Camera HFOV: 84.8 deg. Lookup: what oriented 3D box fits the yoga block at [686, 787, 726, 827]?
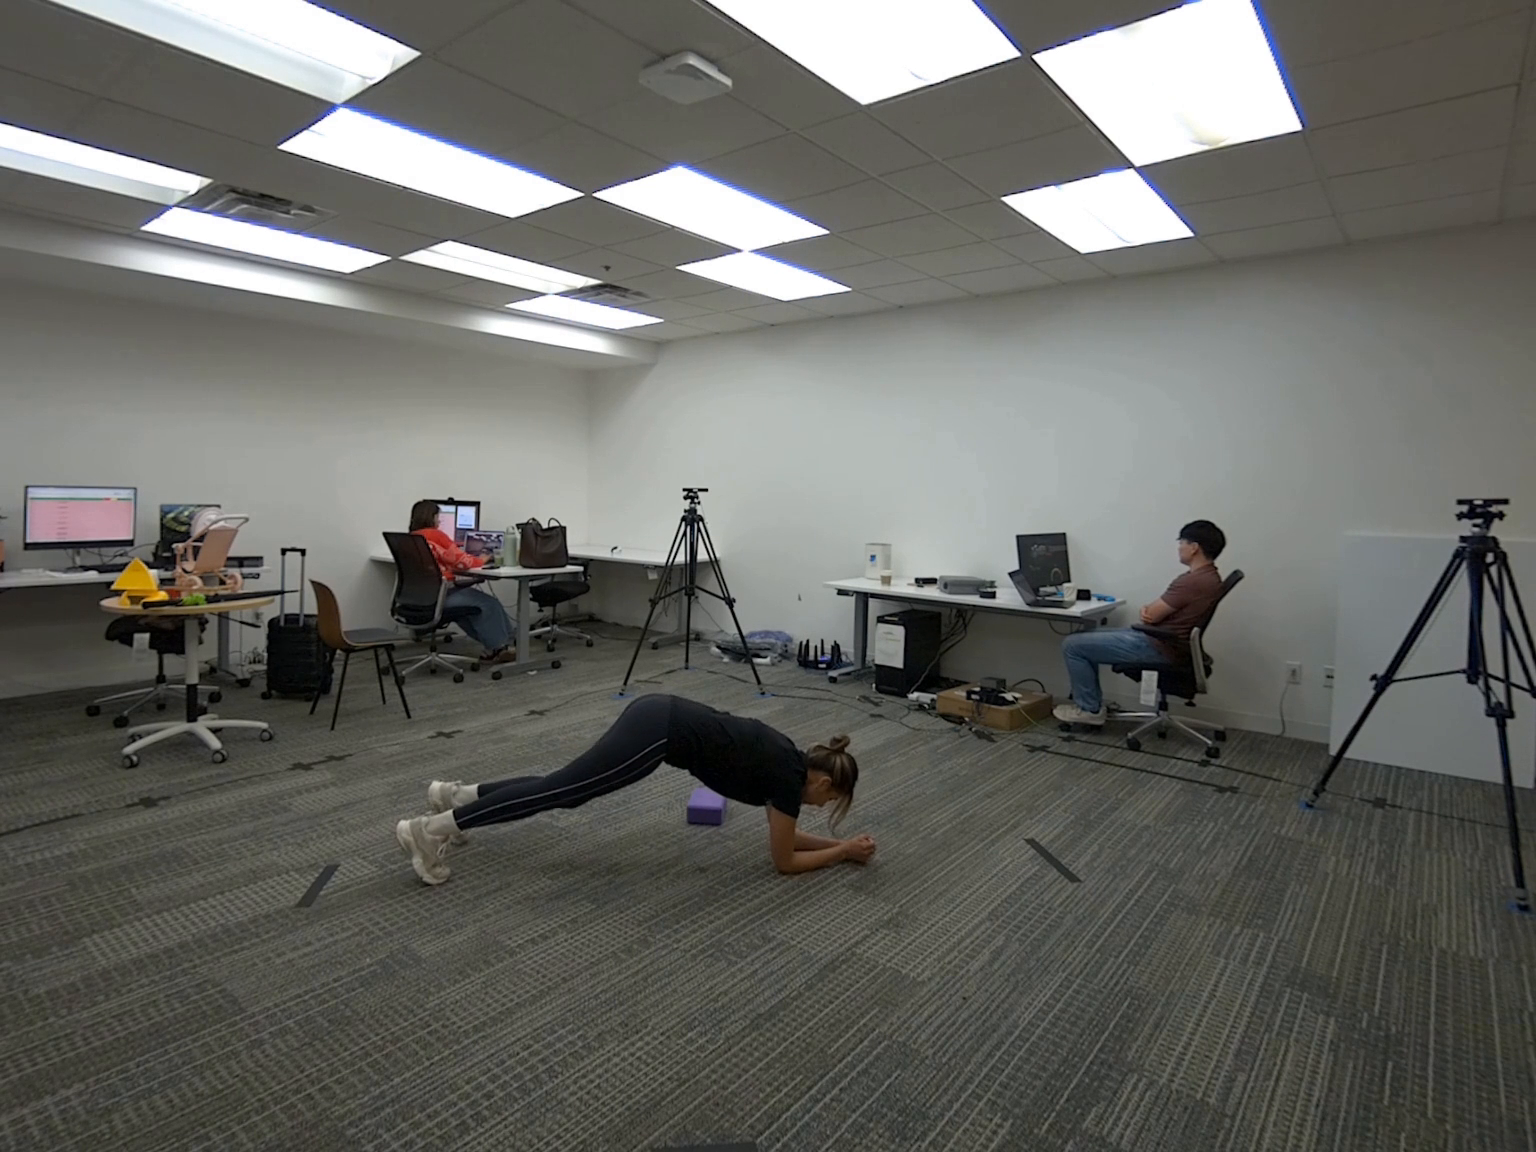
[{"bbox_3d":[-0.268,0.976,3.635,0.150,0.076,0.229,1,6,5],"label":"yoga block"}]
